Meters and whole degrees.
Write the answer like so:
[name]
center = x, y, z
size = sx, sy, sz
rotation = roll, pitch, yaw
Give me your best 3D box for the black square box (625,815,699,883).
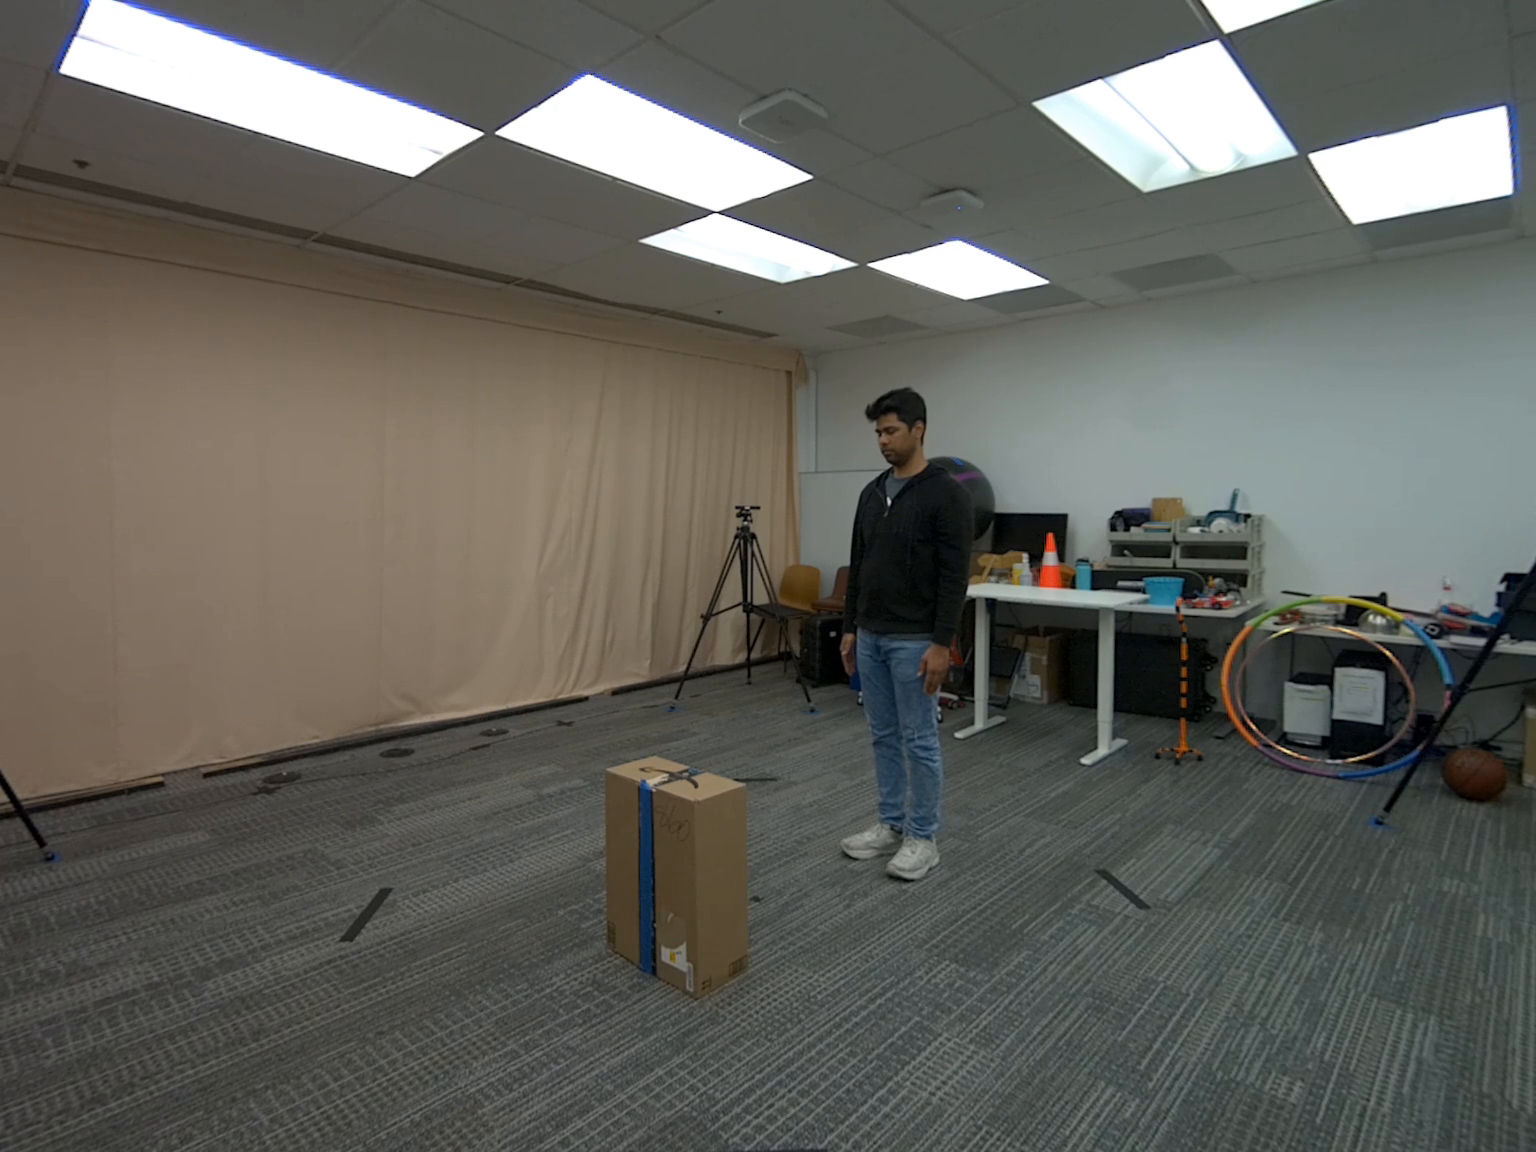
[black square box]
center = -0.404, 1.041, 3.253
size = 0.220, 0.155, 0.225
rotation = 0, 3, 13
